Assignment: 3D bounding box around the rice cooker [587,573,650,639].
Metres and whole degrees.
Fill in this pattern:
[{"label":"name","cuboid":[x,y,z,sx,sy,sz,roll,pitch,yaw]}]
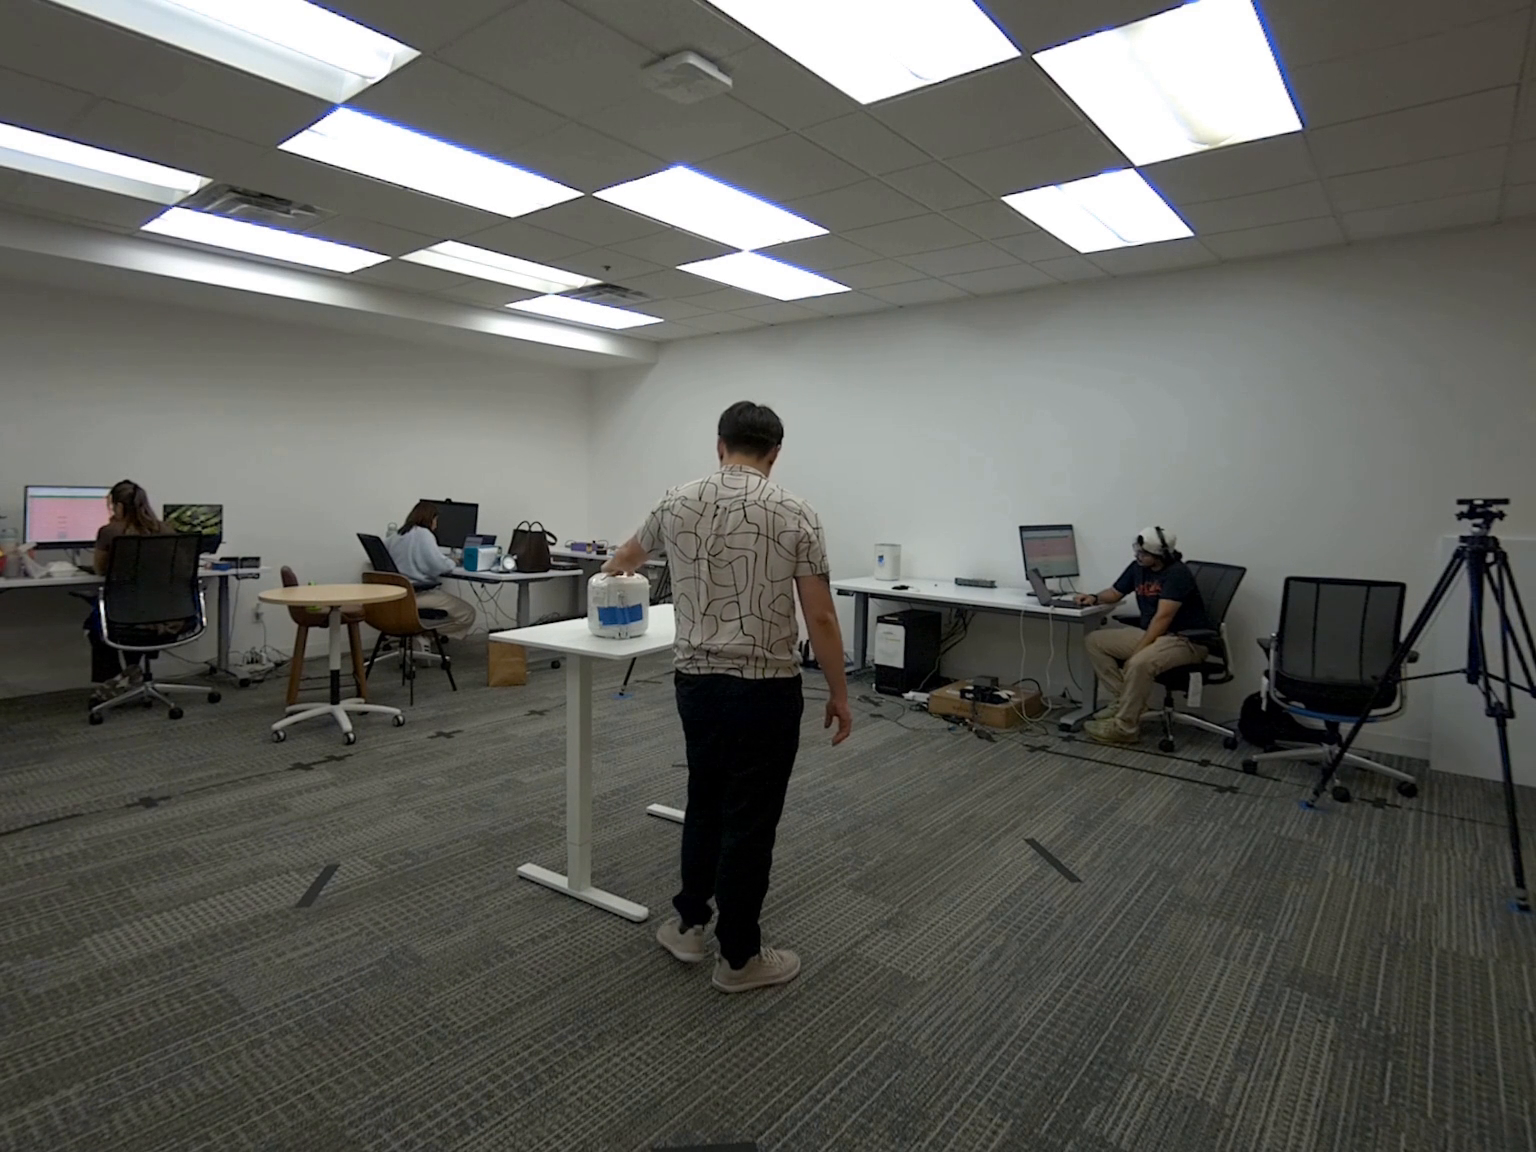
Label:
[{"label":"rice cooker","cuboid":[-0.531,0.085,2.924,0.224,0.232,0.215,4,5,30]}]
